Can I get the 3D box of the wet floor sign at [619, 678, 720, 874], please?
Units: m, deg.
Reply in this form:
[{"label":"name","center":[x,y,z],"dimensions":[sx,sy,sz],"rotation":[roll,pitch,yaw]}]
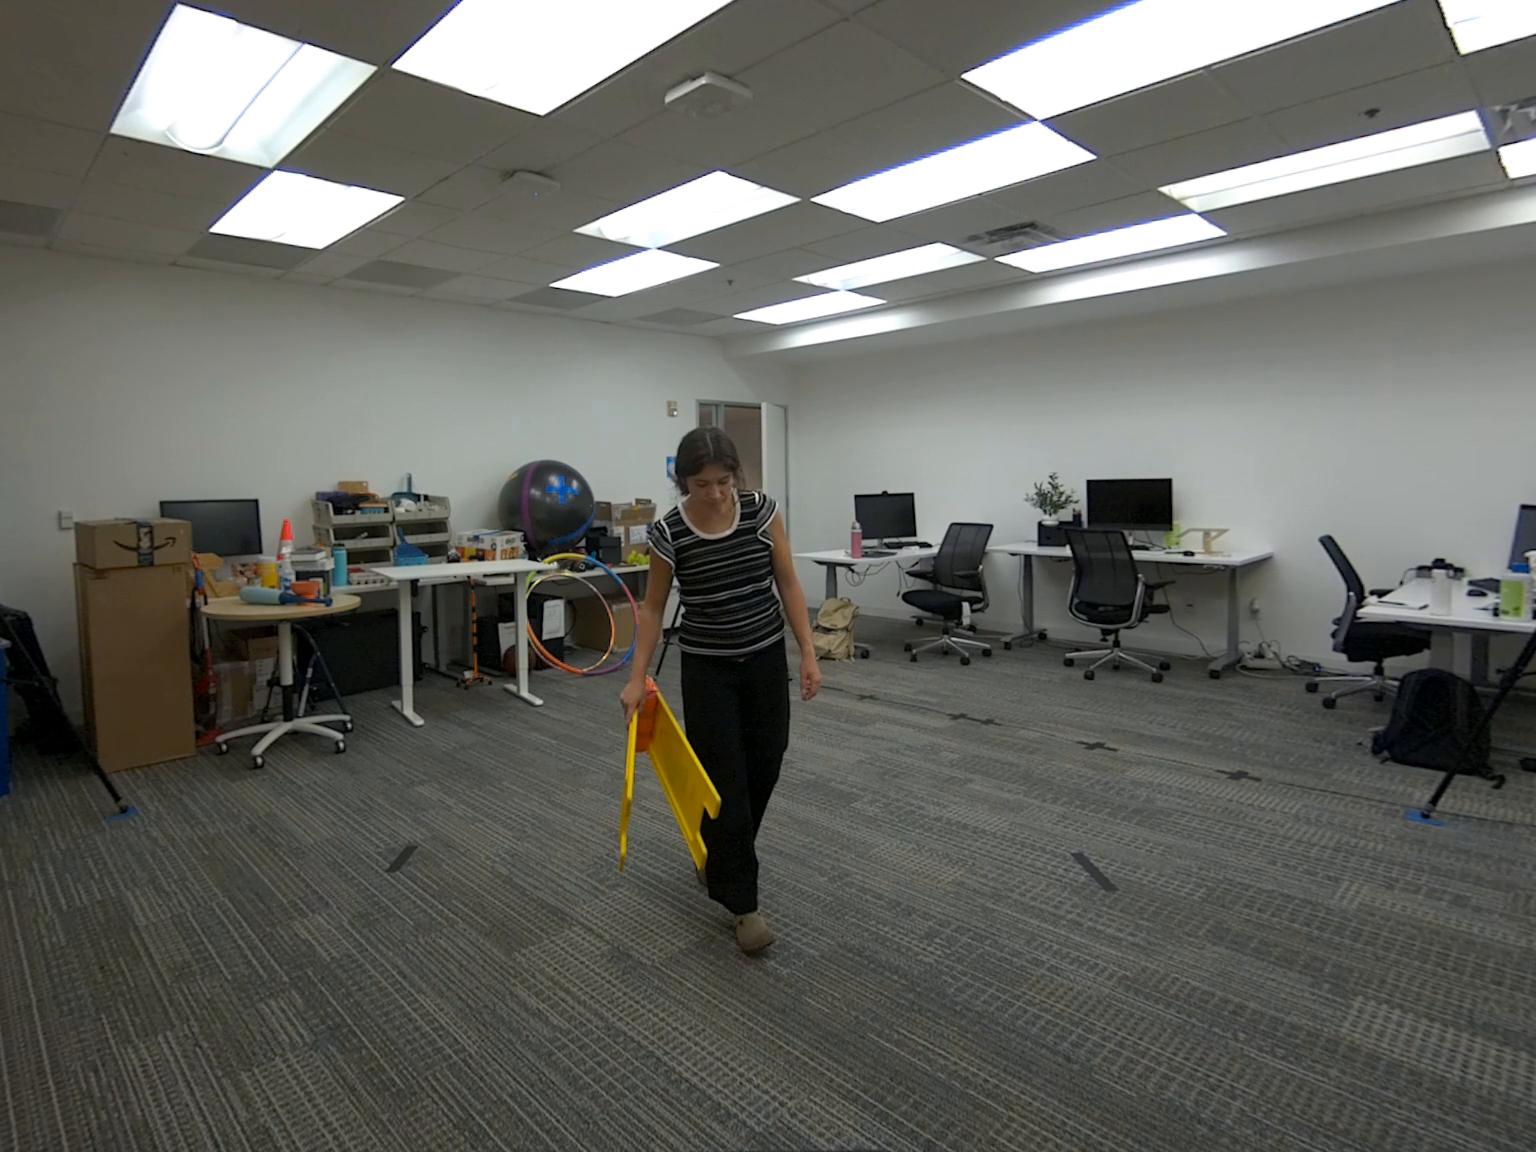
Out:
[{"label":"wet floor sign","center":[-0.362,0.541,2.609],"dimensions":[0.284,0.277,0.669],"rotation":[2,30,-19]}]
